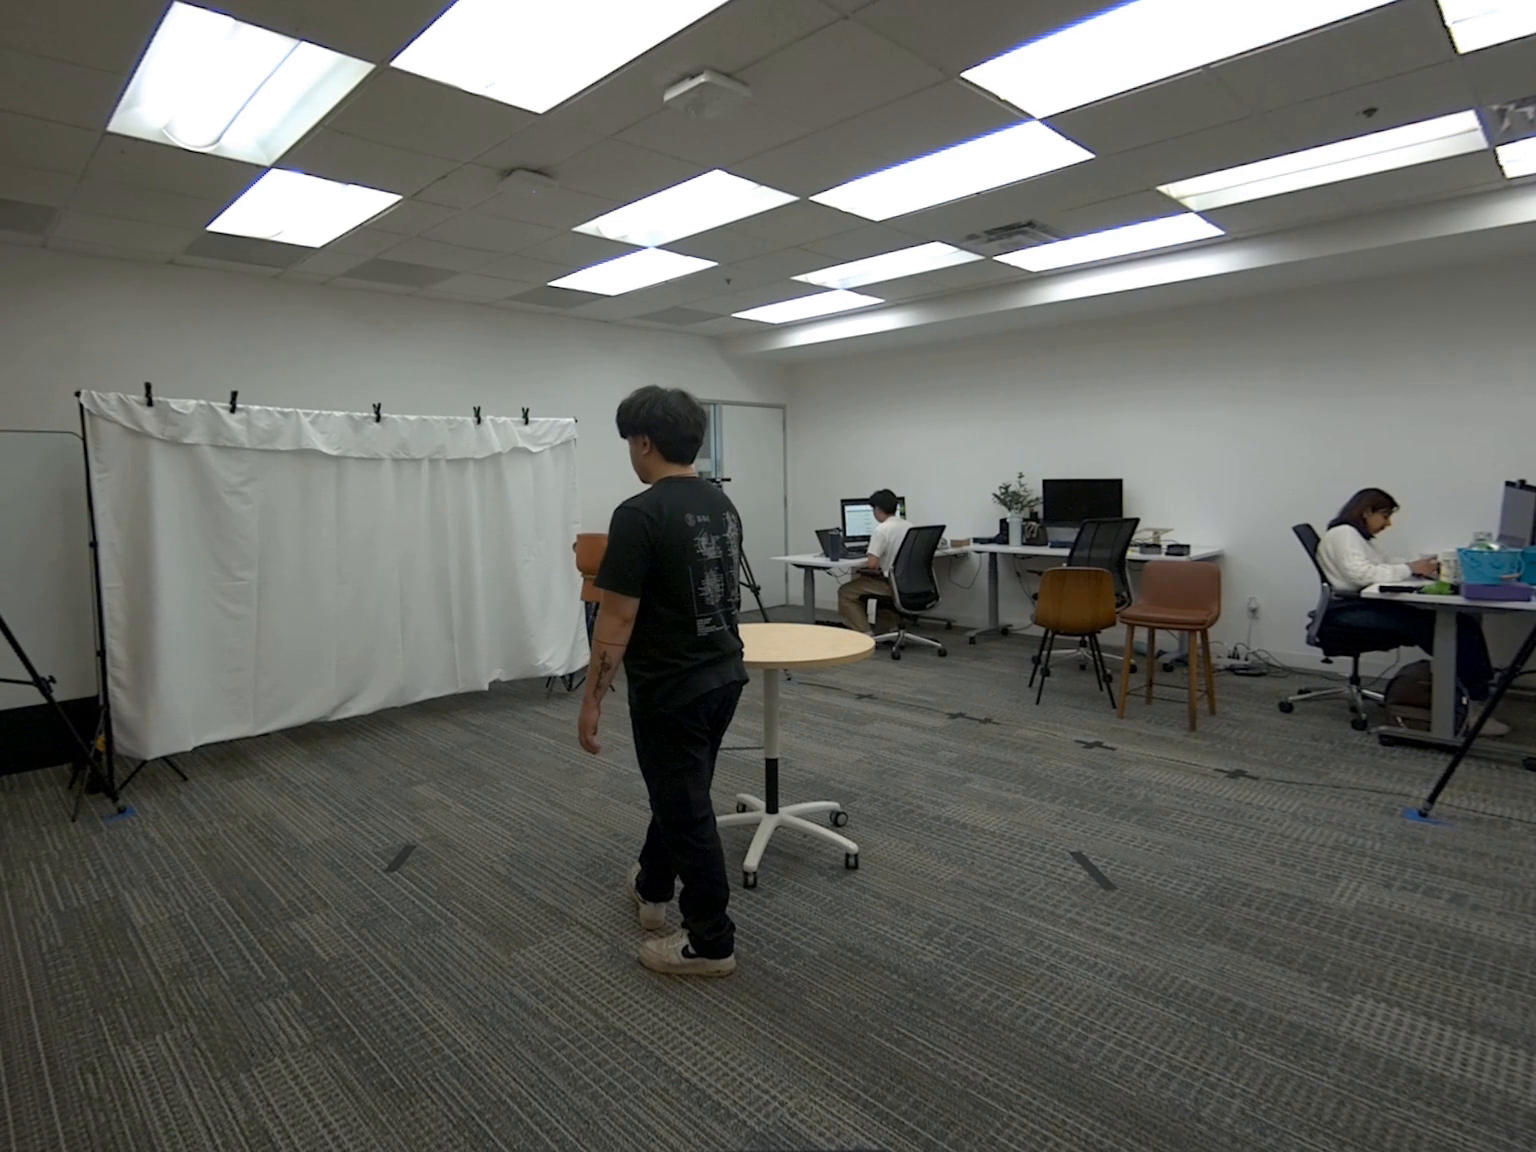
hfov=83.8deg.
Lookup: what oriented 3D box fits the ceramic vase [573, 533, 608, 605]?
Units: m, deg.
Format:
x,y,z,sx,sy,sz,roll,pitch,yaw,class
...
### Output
x,y,z,sx,sy,sz,roll,pitch,yaw,class
-0.563,-0.032,2.821,0.132,0.219,0.162,0,3,-24,ceramic vase
